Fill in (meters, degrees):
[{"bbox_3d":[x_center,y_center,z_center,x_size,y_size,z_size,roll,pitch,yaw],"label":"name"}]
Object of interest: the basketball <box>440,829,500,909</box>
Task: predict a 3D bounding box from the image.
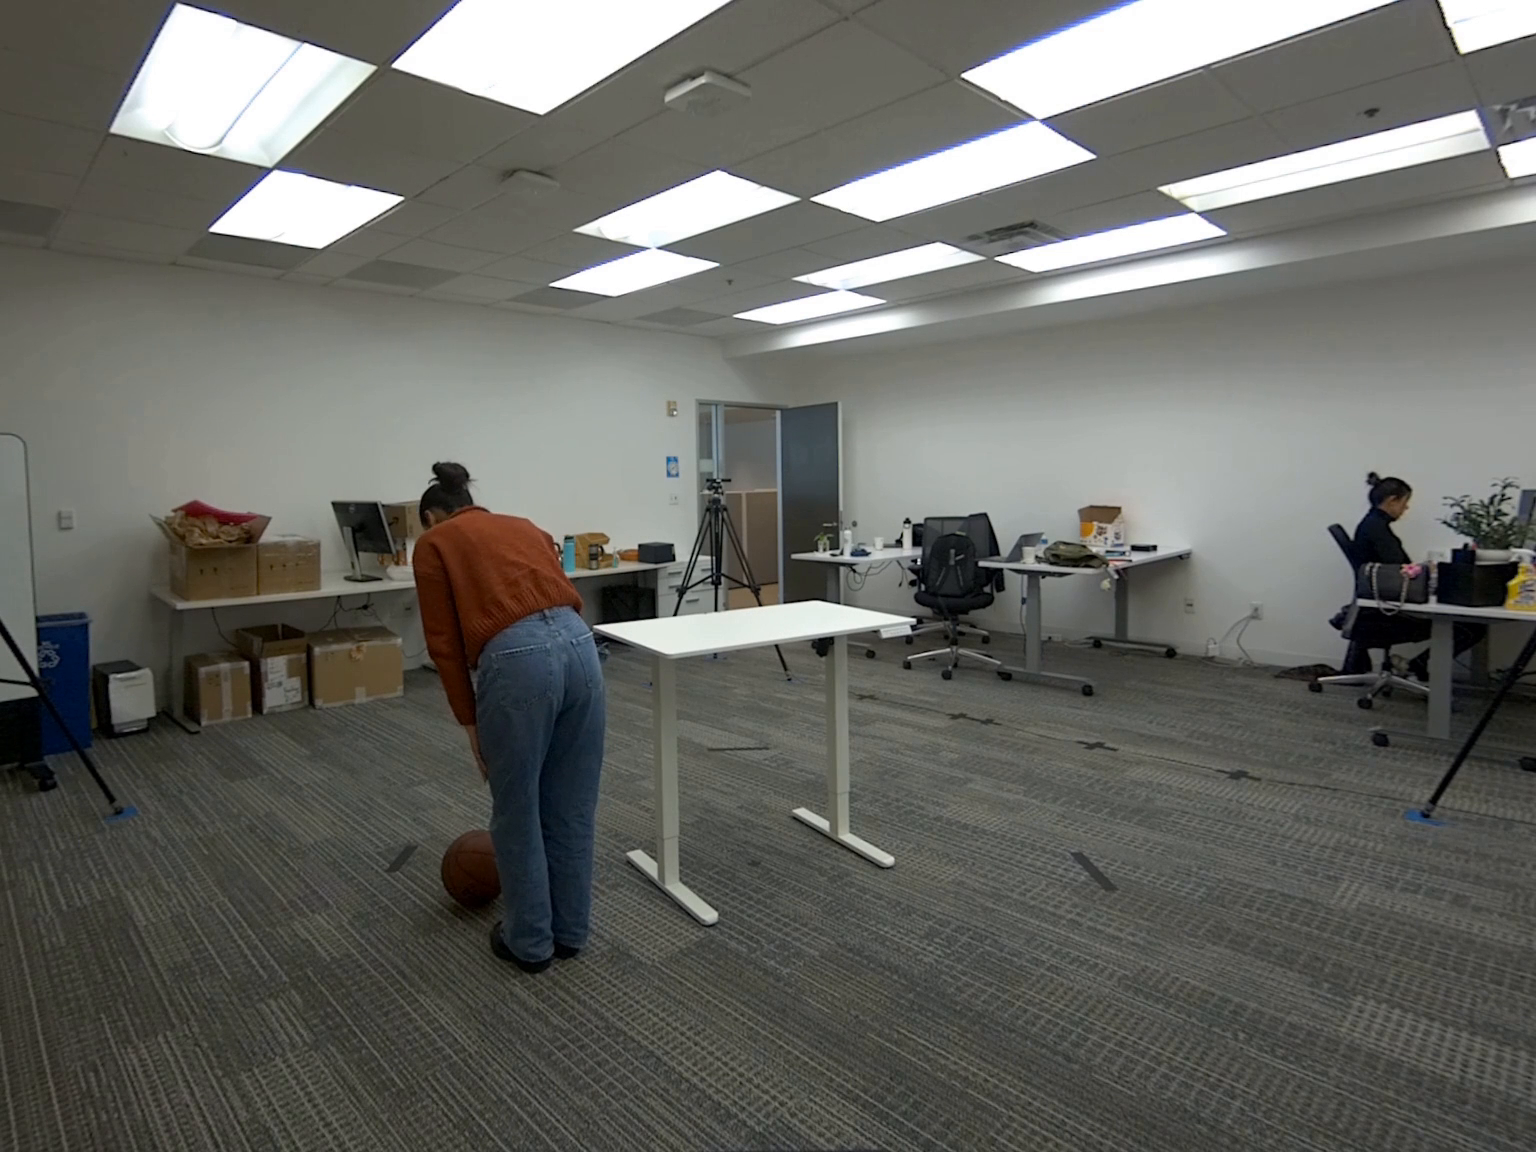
[{"bbox_3d":[-0.964,0.965,2.861,0.236,0.235,0.237,-1,5,-2],"label":"basketball"}]
